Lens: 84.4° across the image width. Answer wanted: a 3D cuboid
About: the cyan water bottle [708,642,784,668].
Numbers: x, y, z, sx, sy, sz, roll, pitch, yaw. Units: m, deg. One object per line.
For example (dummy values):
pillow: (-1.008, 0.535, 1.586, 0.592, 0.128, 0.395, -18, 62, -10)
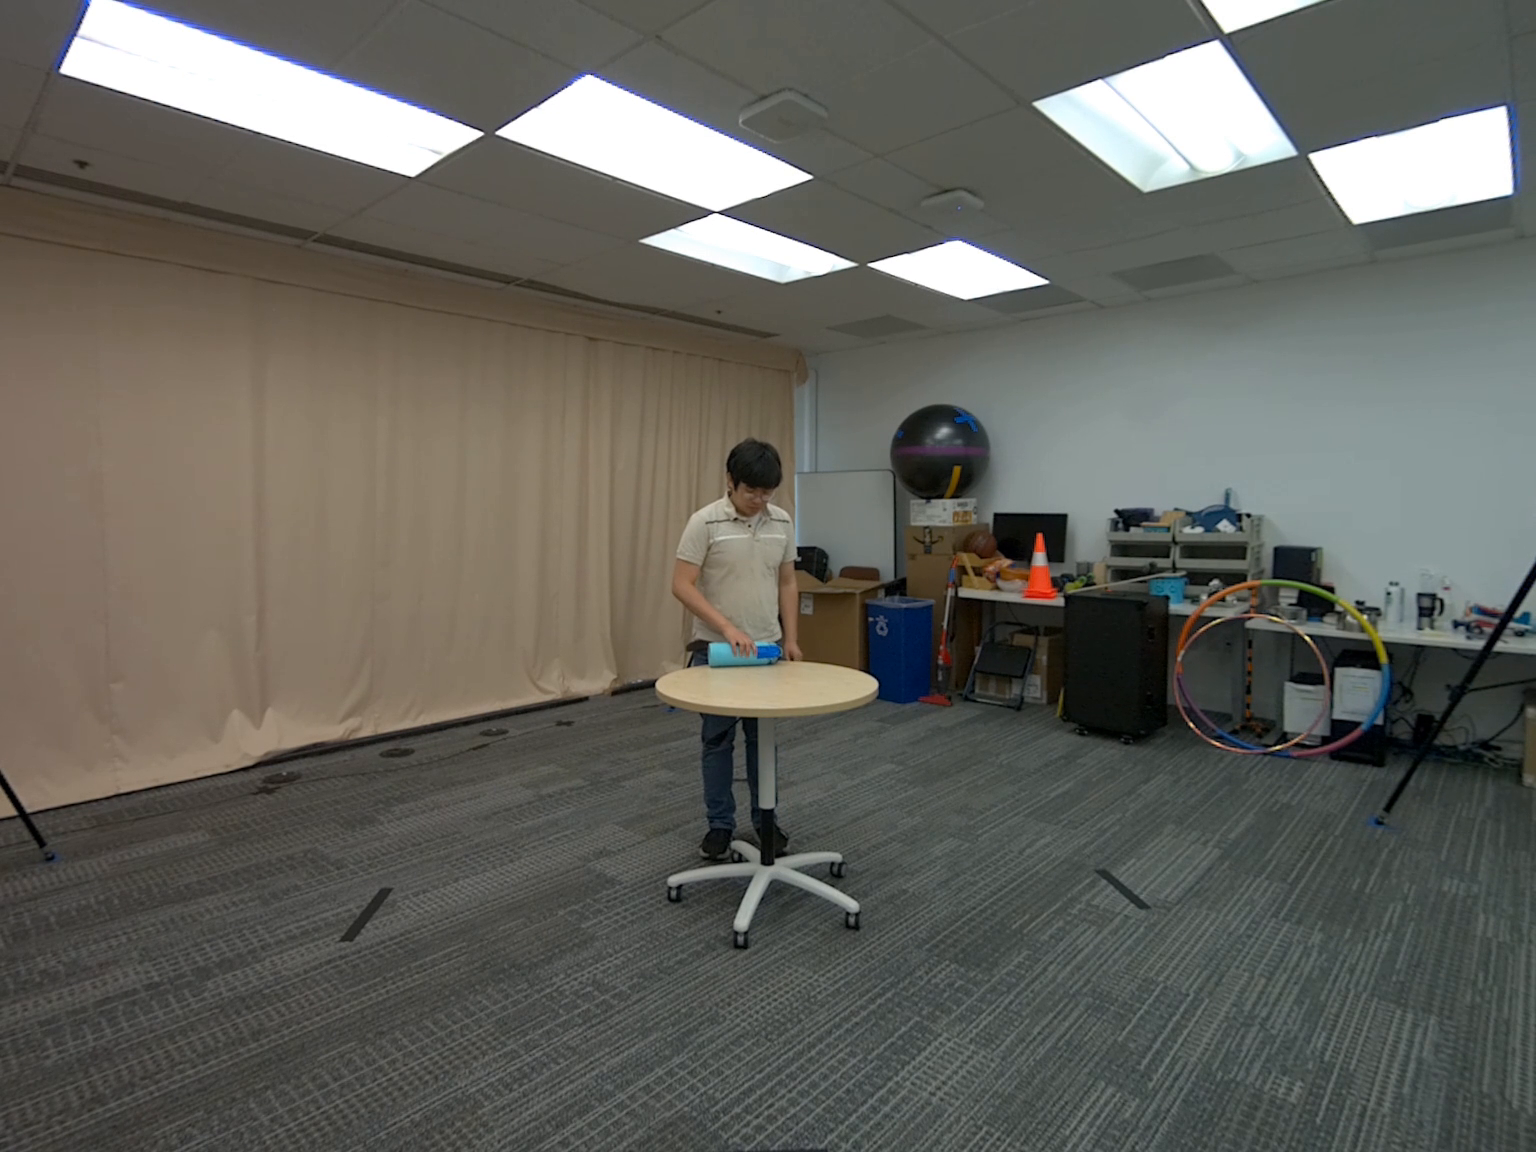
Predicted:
cyan water bottle: (-0.083, 0.295, 3.210, 0.282, 0.092, 0.093, -2, 4, -3)
